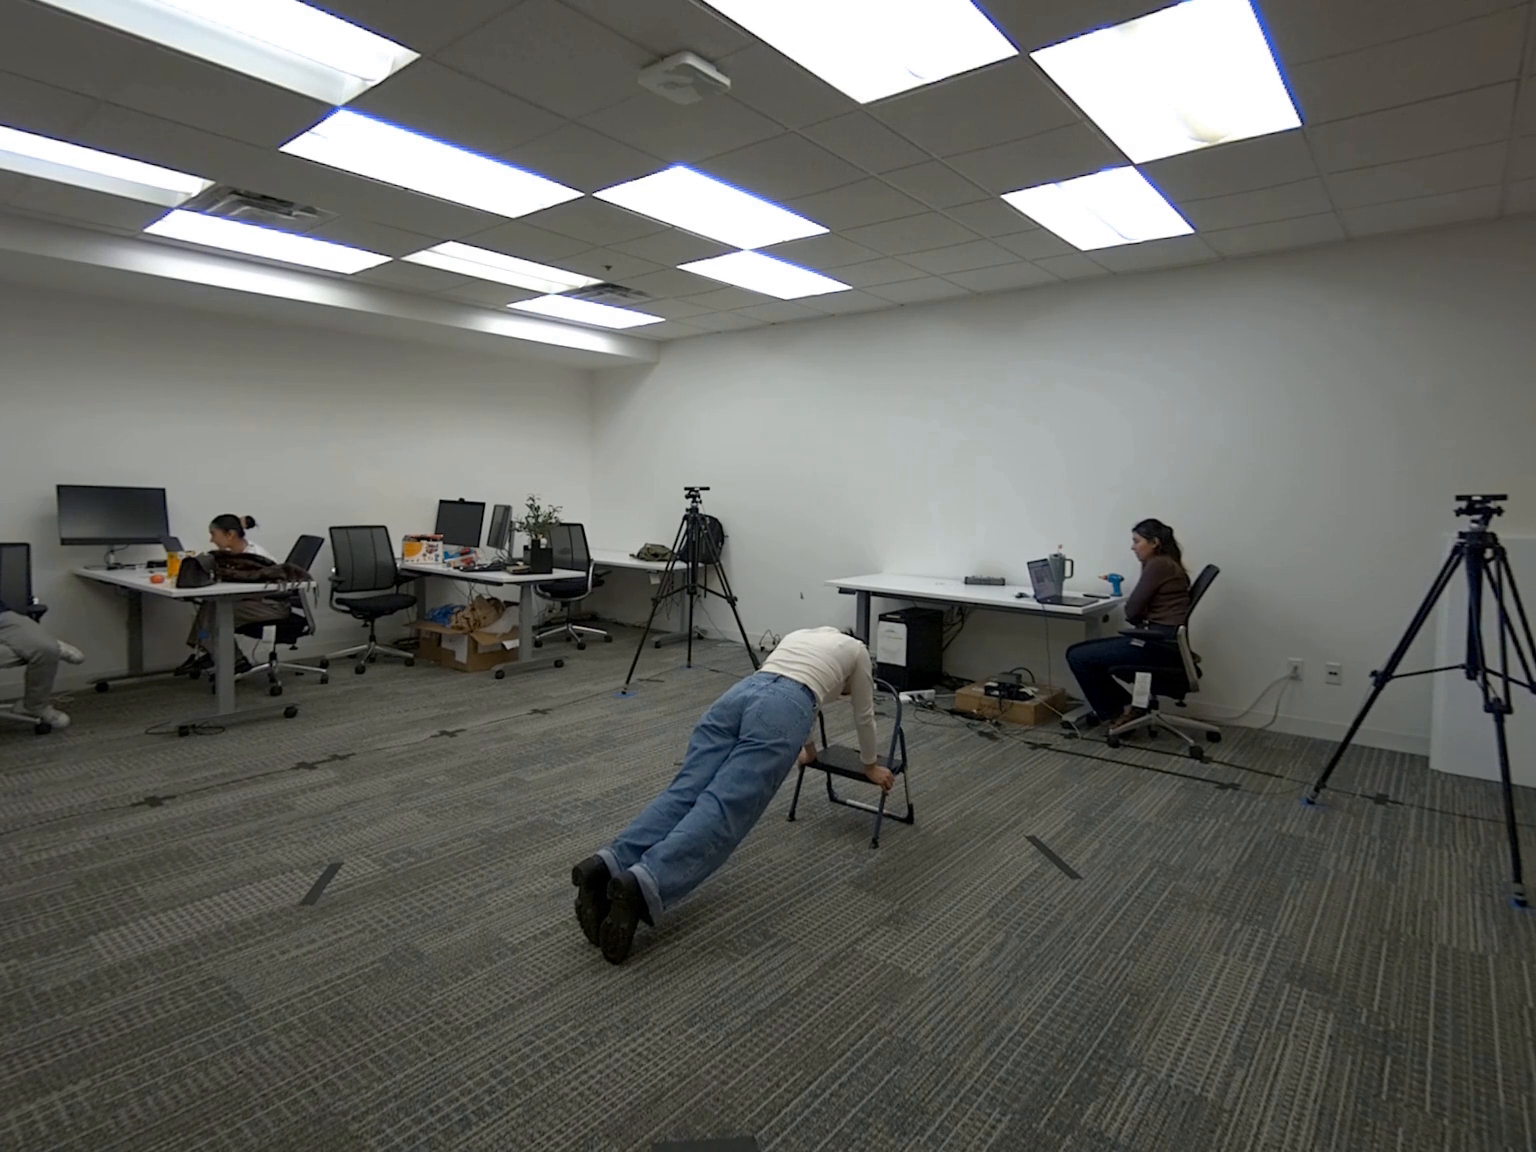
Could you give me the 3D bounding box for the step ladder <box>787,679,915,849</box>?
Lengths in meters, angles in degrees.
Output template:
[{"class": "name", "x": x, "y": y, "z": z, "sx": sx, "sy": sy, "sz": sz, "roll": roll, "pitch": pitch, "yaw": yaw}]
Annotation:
[{"class": "step ladder", "x": 0.352, "y": 0.730, "z": 3.564, "sx": 0.445, "sy": 0.604, "sz": 0.339, "roll": 4, "pitch": 4, "yaw": 38}]
